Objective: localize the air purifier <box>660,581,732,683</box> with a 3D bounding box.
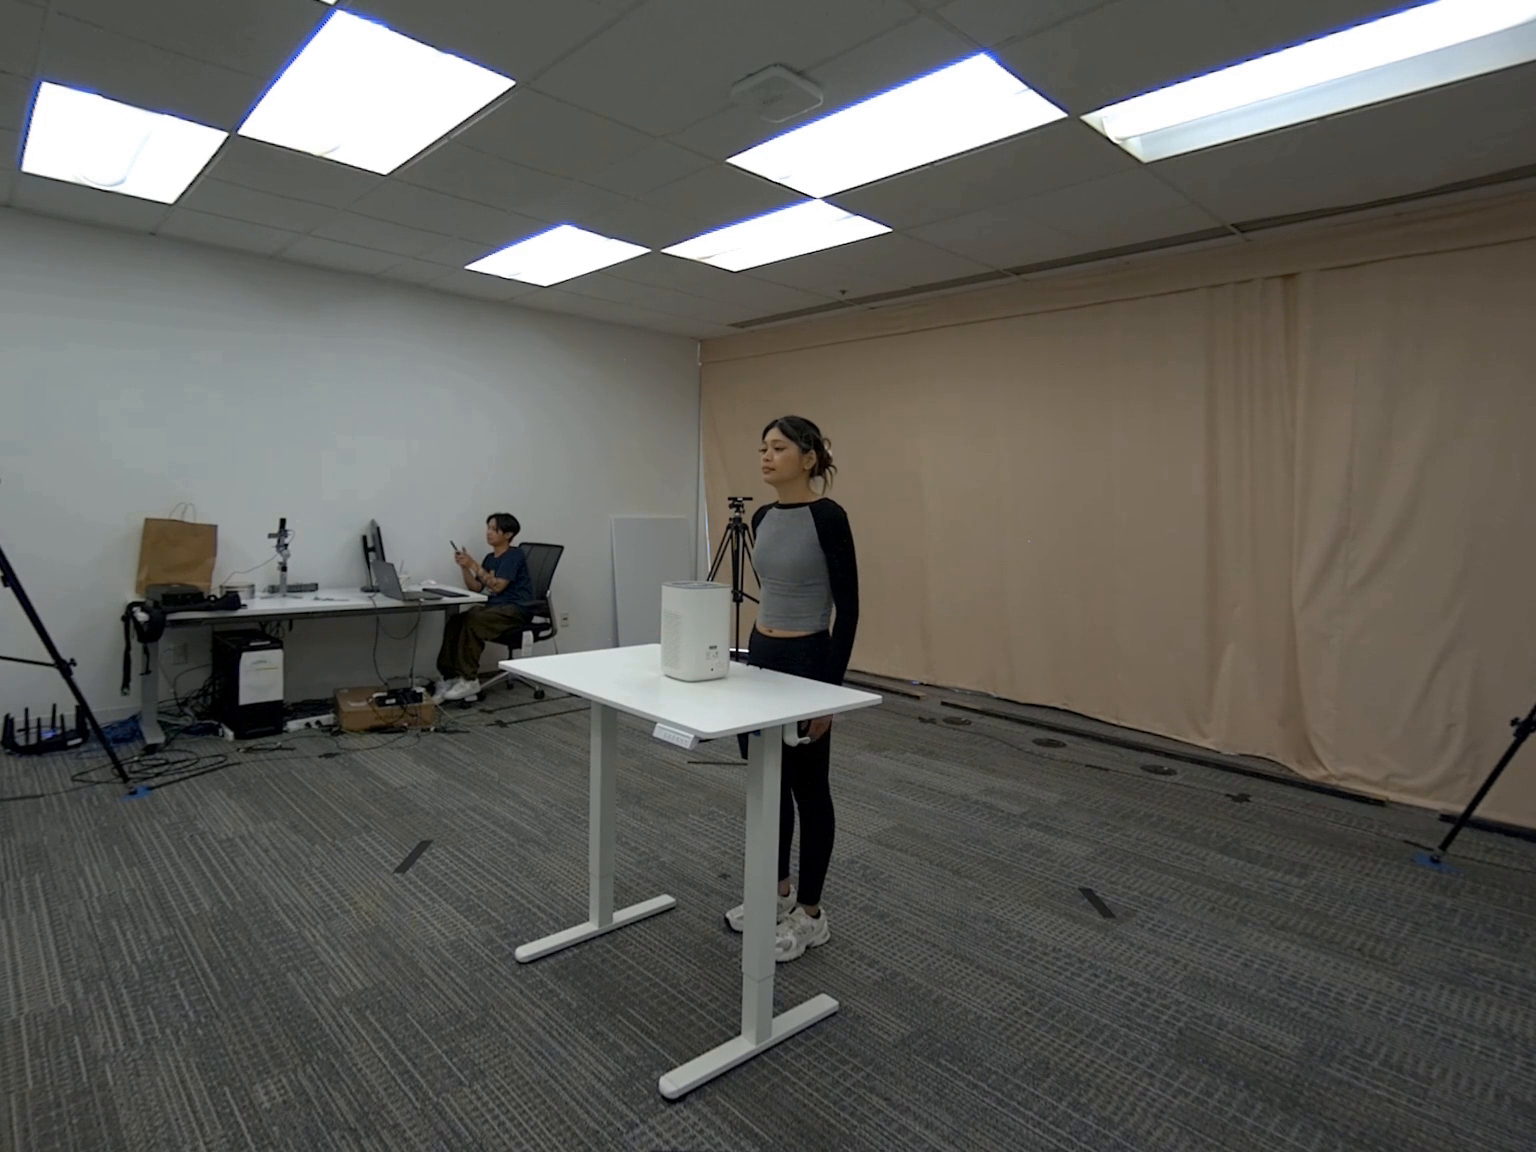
[{"bbox_3d":[-0.205,0.153,2.400,0.167,0.265,0.176,0,2,-40],"label":"air purifier"}]
